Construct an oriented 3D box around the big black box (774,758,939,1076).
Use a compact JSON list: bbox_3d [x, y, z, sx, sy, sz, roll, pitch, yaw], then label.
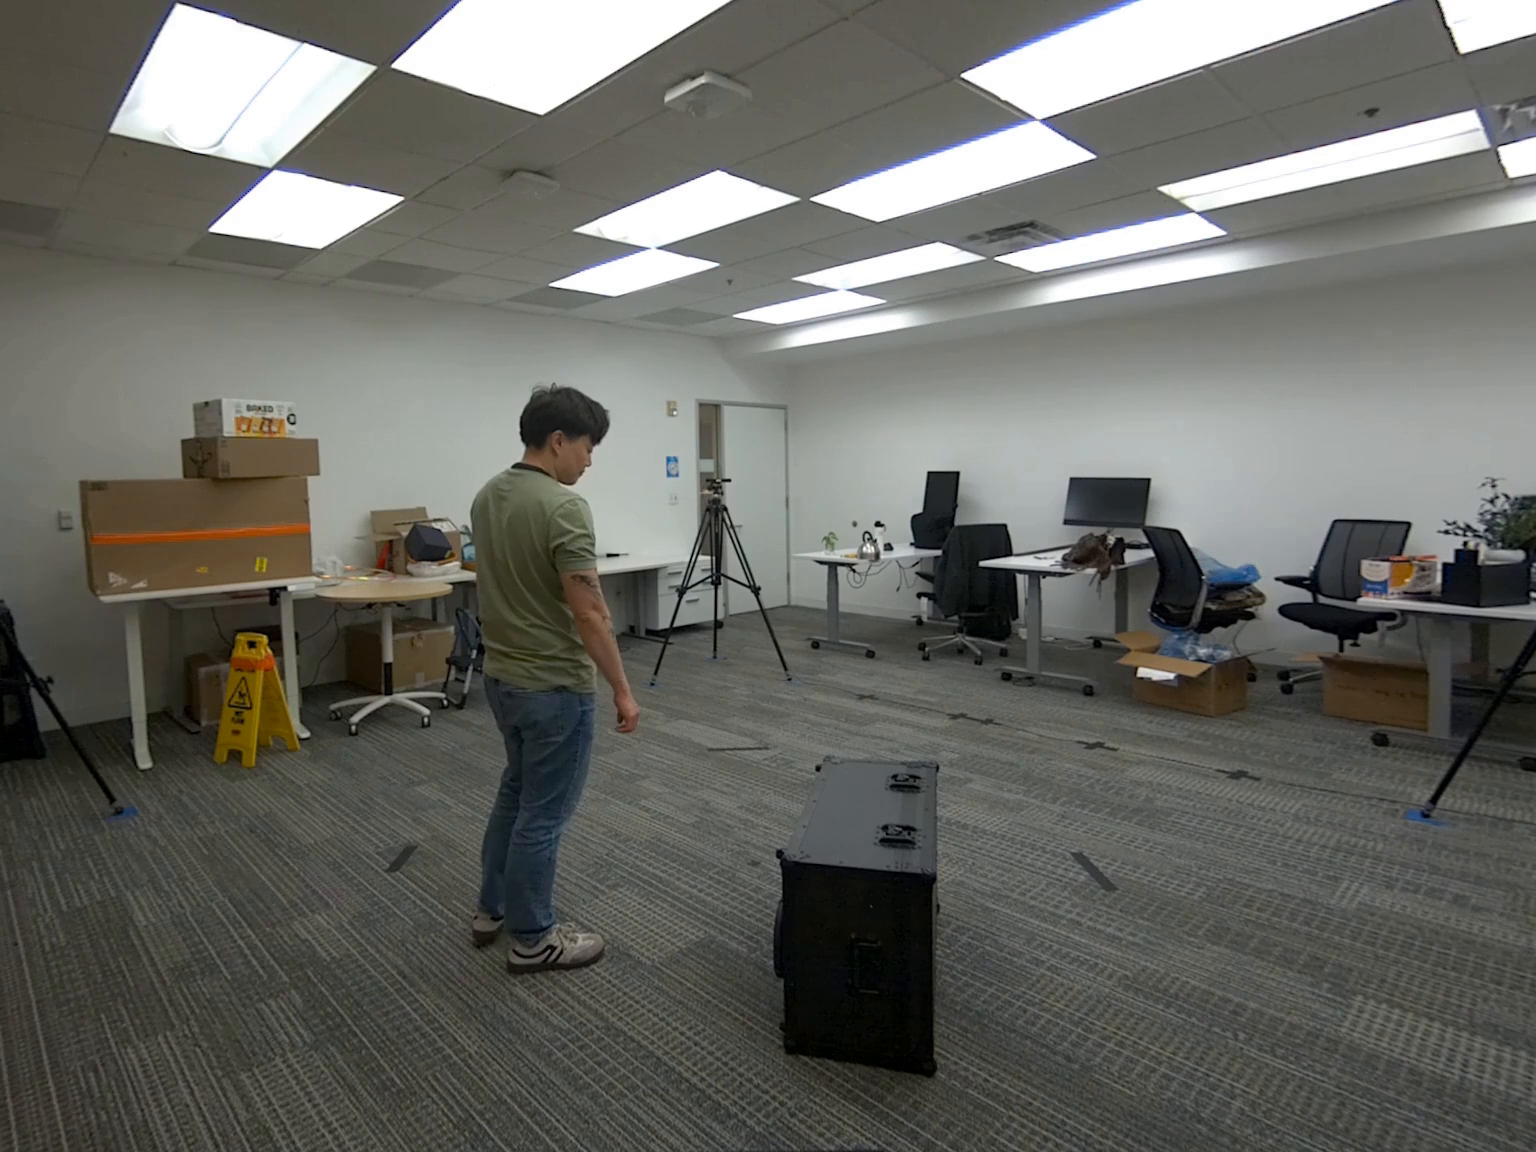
[{"bbox_3d":[0.275,0.874,2.372,0.401,0.519,0.854,0,6,12],"label":"big black box"}]
